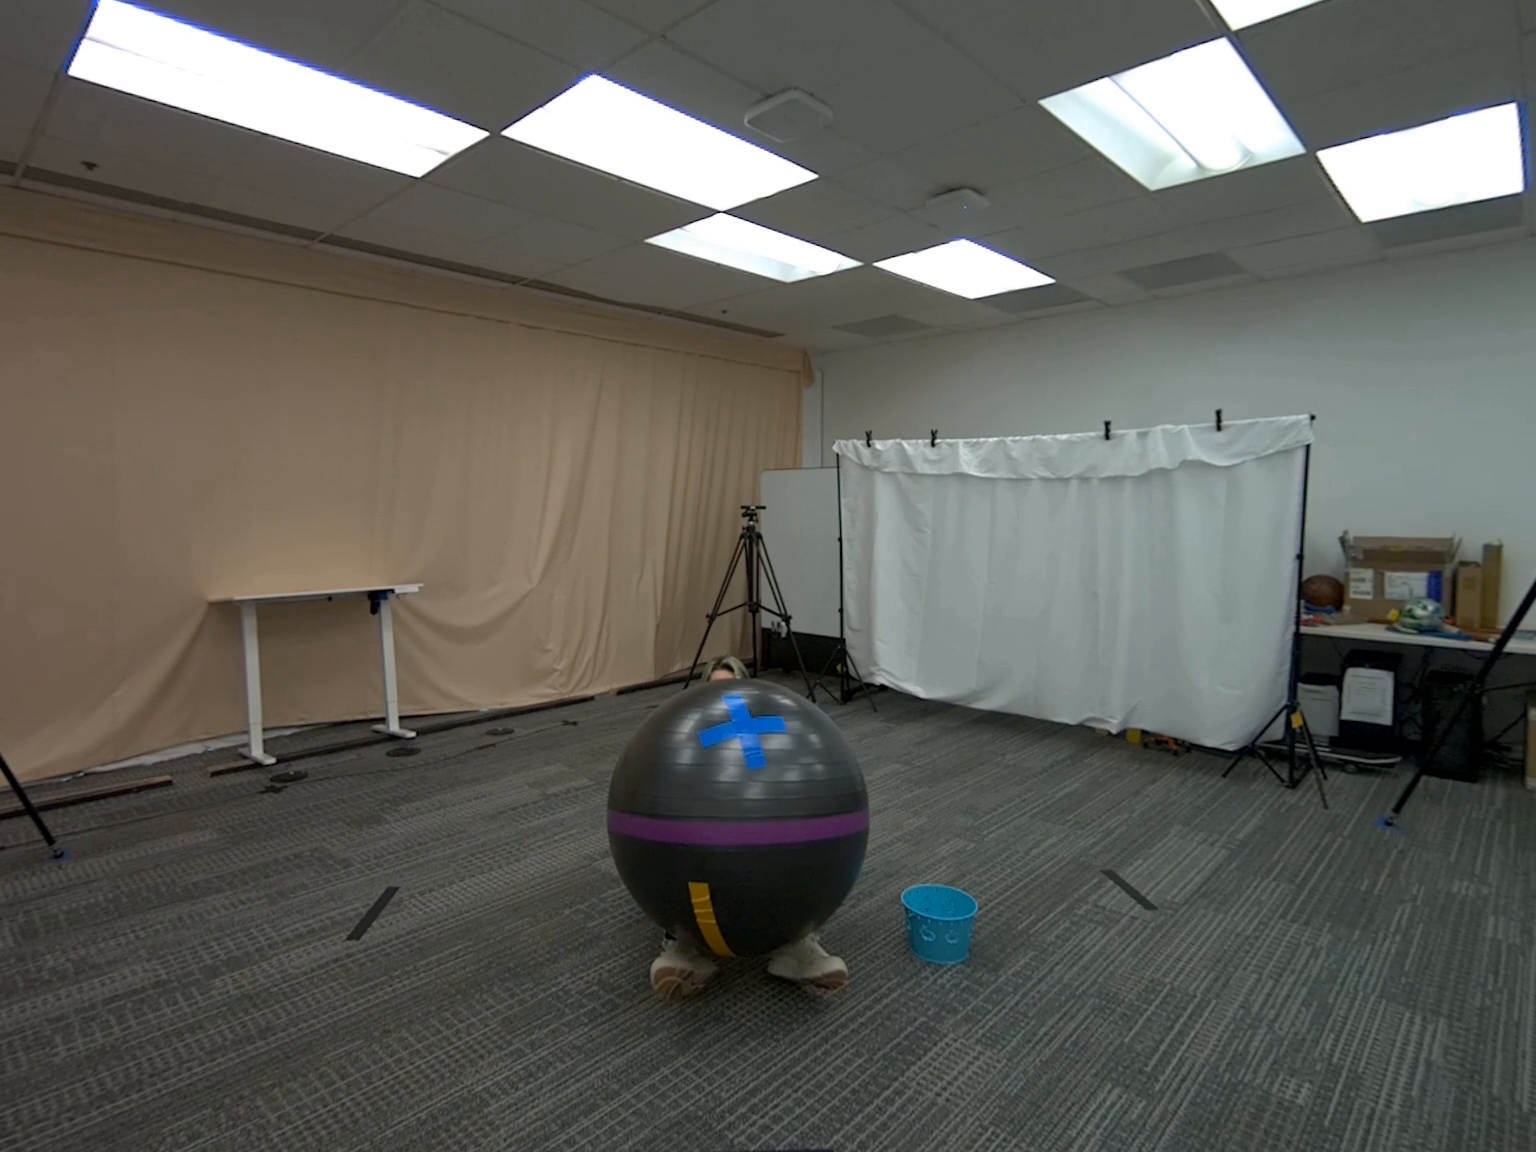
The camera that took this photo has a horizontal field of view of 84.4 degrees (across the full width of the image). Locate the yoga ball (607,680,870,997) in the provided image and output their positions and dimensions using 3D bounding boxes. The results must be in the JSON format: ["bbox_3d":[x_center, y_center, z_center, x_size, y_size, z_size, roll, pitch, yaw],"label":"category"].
[{"bbox_3d":[-0.090,0.692,2.421,0.757,0.756,0.761,0,4,-2],"label":"yoga ball"}]
